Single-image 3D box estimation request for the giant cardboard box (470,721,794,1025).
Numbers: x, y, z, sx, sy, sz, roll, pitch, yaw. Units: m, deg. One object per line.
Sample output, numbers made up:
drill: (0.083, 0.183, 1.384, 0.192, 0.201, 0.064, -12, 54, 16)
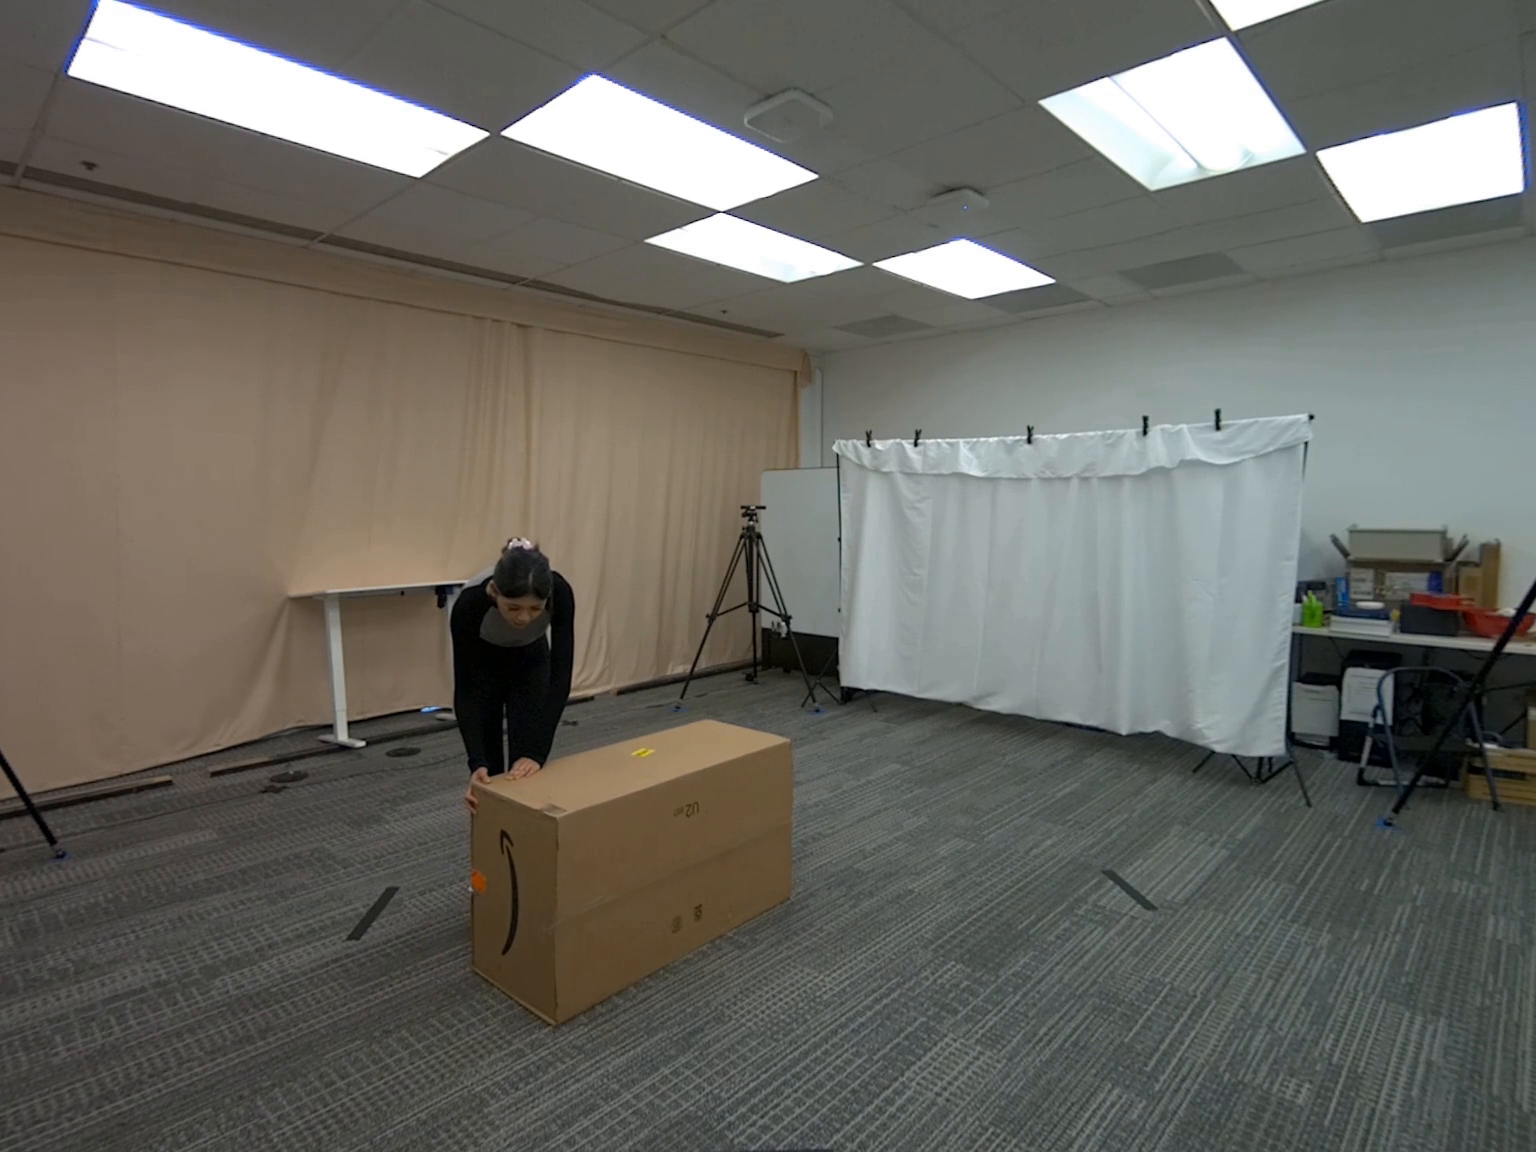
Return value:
giant cardboard box: (-0.396, 0.879, 2.744, 0.461, 0.583, 0.996, 2, 4, 40)
